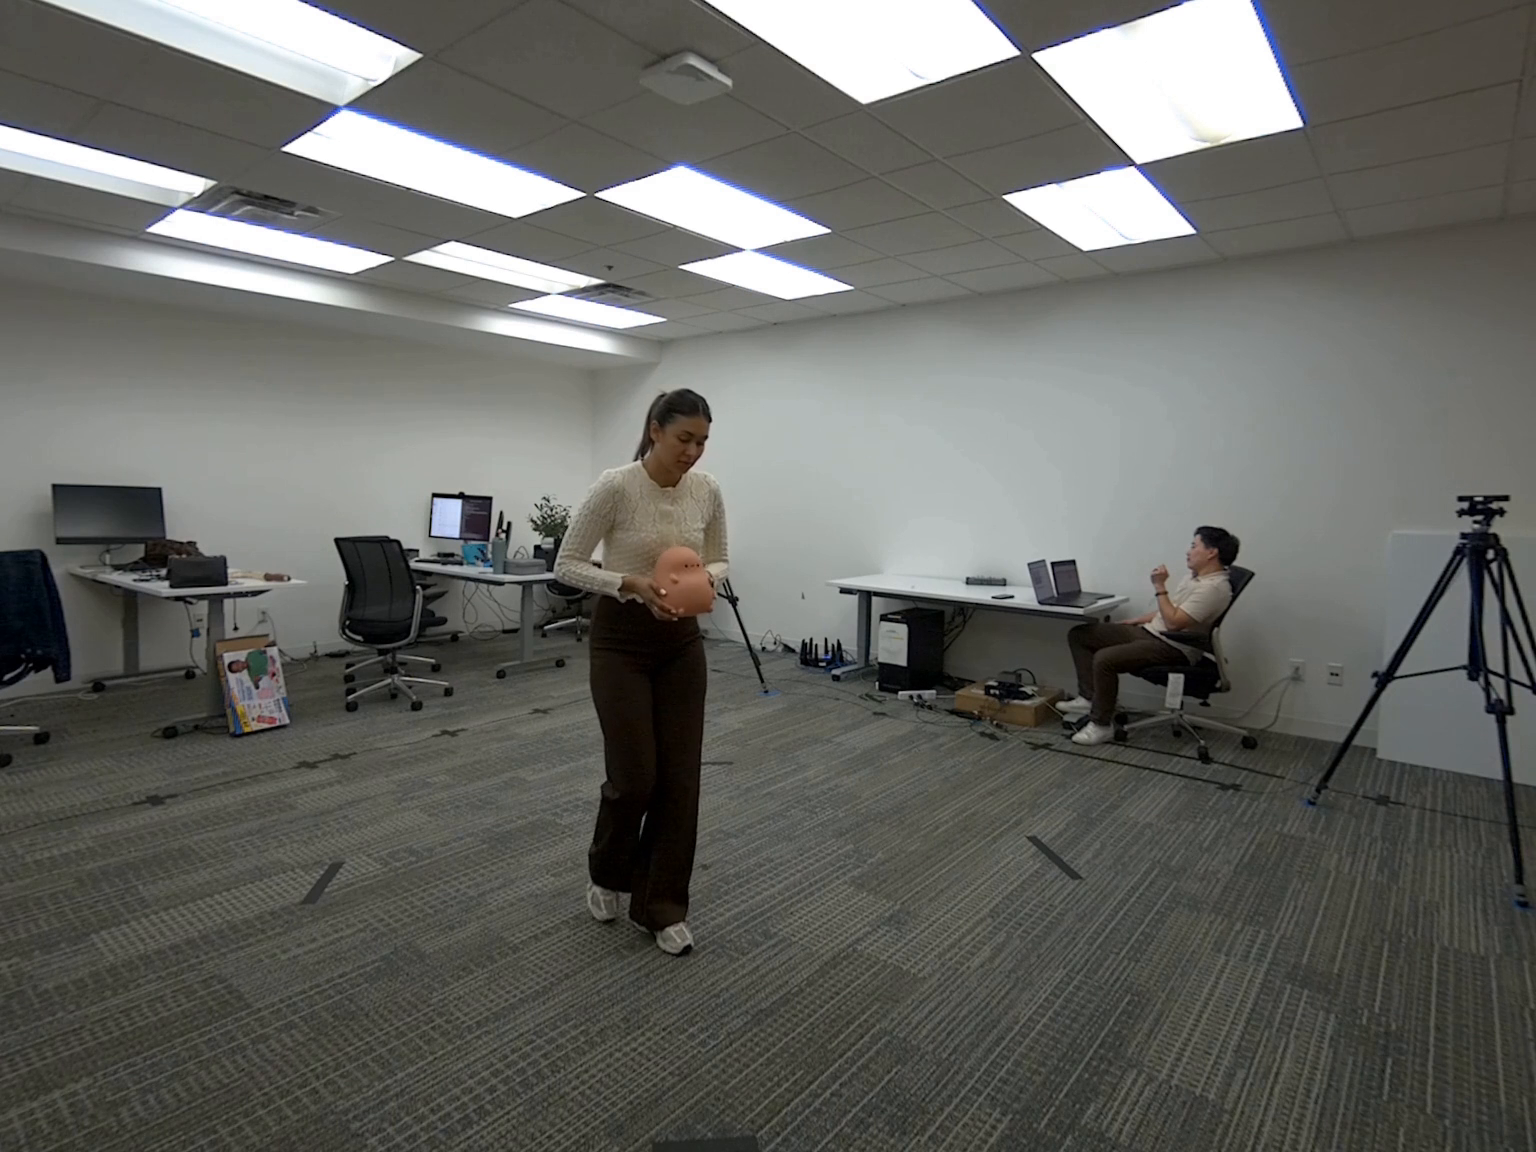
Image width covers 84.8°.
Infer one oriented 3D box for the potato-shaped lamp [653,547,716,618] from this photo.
[{"bbox_3d":[-0.258,0.013,2.433,0.160,0.198,0.176,-3,-2,-36],"label":"potato-shaped lamp"}]
